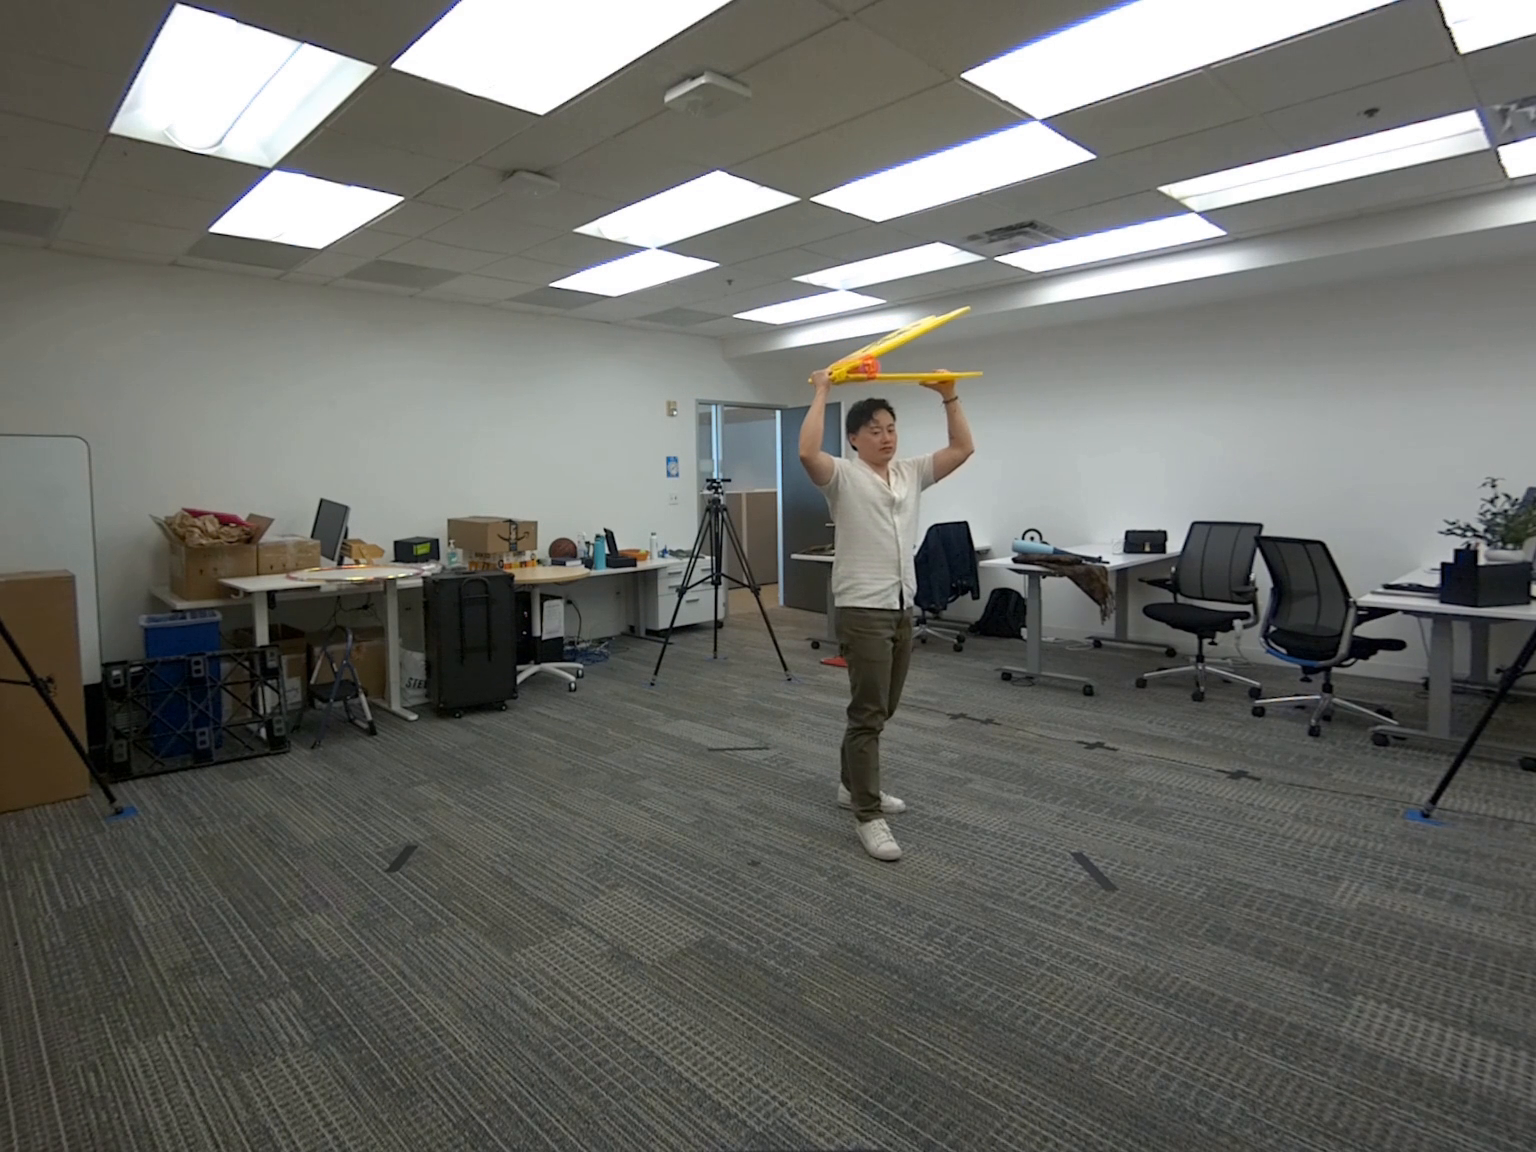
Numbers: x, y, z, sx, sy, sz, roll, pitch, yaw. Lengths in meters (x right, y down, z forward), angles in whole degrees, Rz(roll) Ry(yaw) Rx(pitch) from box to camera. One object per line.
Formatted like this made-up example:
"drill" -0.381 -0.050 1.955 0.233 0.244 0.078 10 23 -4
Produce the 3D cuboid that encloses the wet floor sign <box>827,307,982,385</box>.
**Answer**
"wet floor sign" 0.473 -0.832 3.313 0.637 0.286 0.289 -19 13 -23
